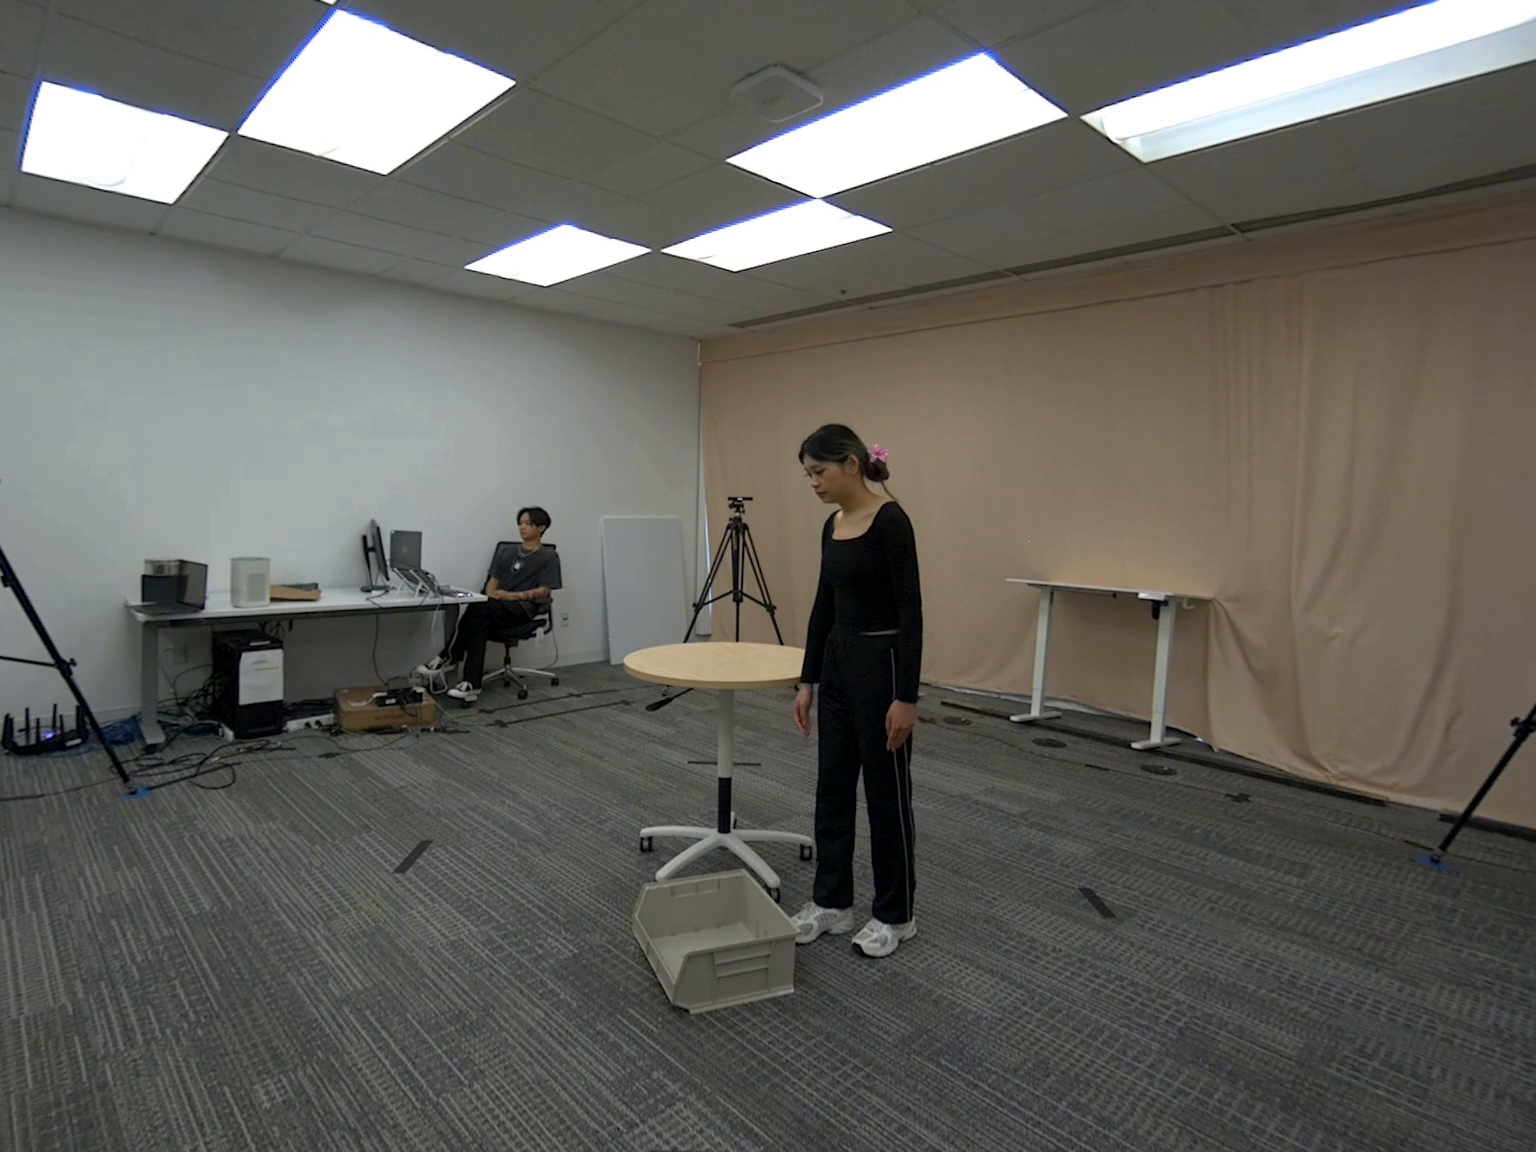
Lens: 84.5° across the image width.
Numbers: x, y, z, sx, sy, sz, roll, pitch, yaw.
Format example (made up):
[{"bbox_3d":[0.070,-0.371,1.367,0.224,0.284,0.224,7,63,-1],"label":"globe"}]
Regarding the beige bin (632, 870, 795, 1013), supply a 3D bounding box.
[{"bbox_3d":[-0.166,1.073,2.497,0.371,0.188,0.431,0,4,-24],"label":"beige bin"}]
